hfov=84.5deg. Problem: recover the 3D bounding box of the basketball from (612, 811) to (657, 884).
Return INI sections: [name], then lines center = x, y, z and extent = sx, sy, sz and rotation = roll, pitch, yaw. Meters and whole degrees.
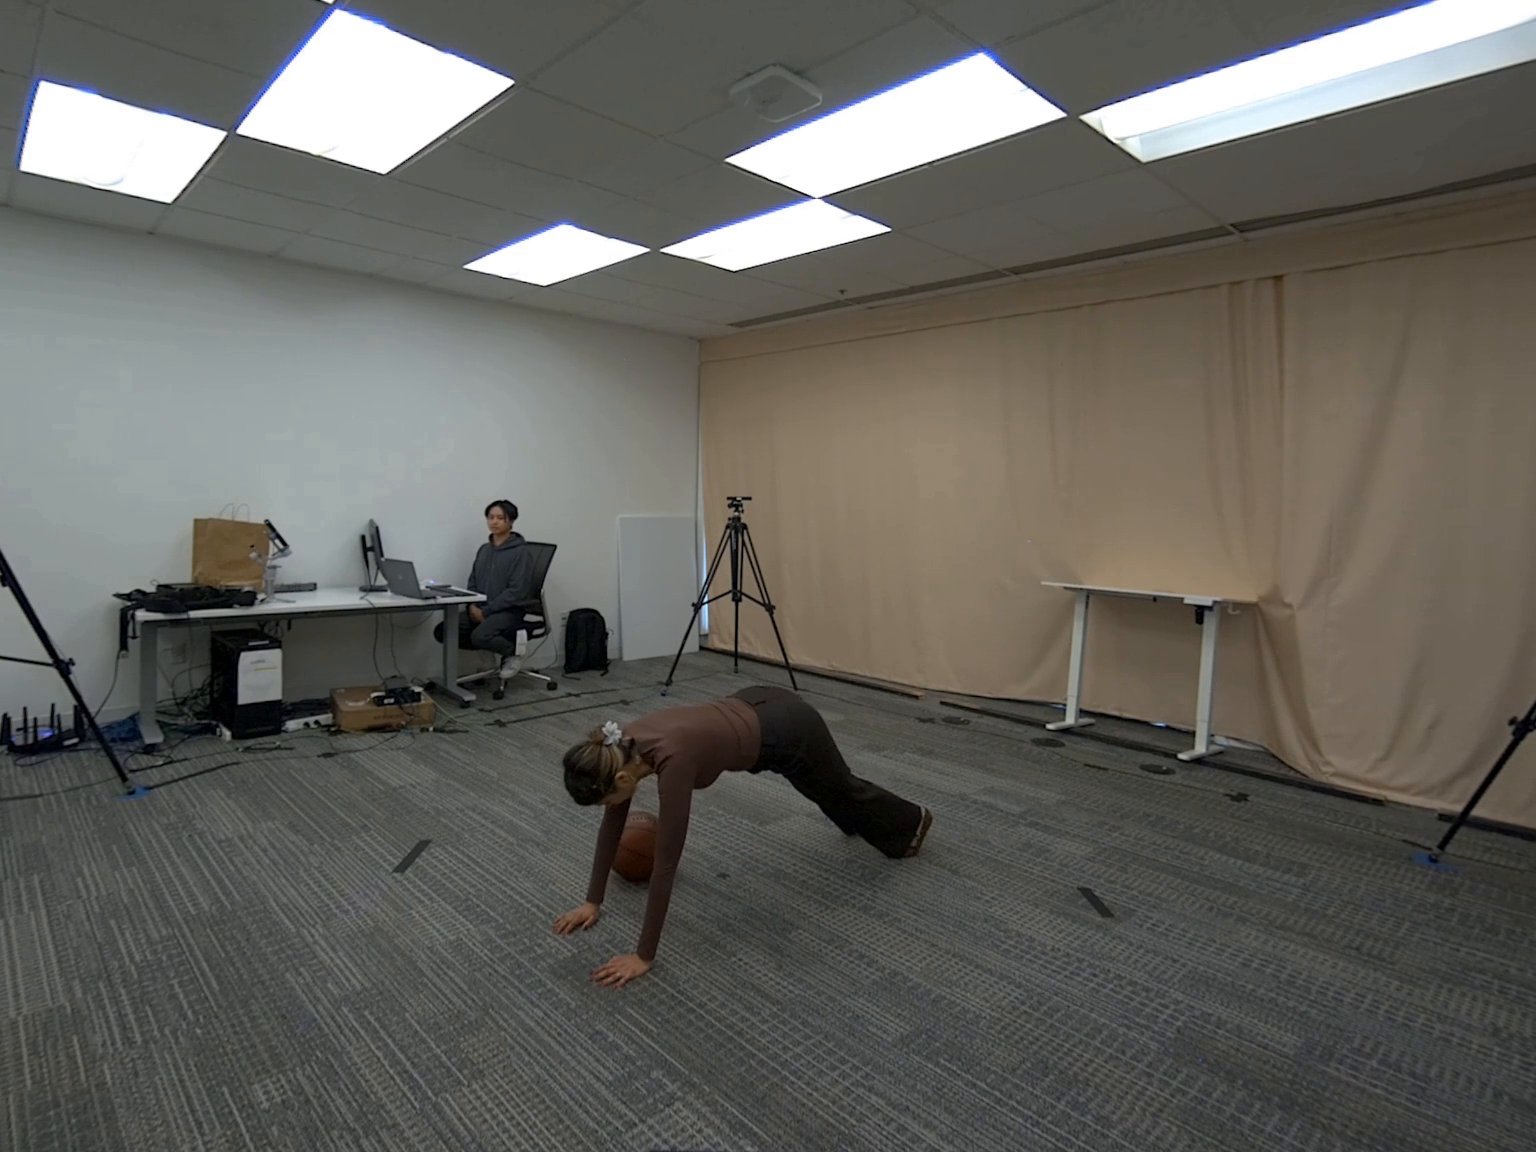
[basketball]
center = -0.483, 0.977, 3.076
extent = 0.236, 0.235, 0.237
rotation = 1, 4, -1
